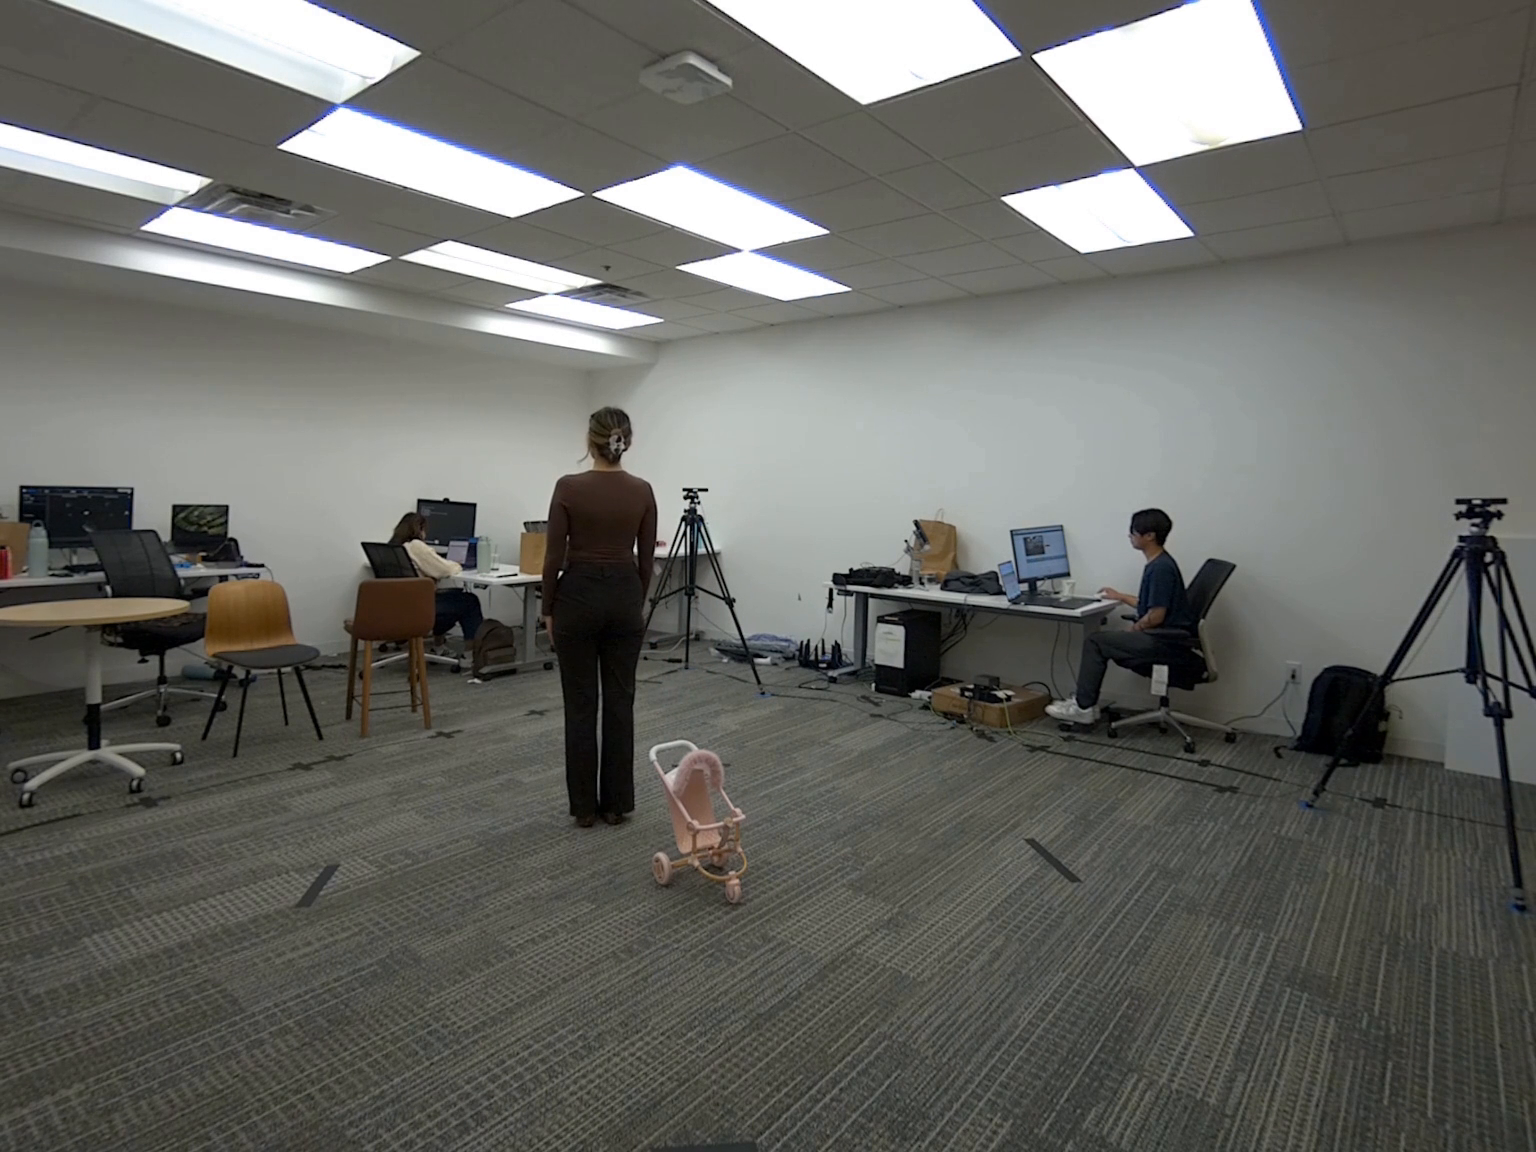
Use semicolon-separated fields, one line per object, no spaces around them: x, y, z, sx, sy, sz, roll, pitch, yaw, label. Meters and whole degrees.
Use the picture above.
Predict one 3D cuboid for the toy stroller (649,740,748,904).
-0.242;0.851;2.997;0.273;0.541;0.348;-1;-11;-35;toy stroller
